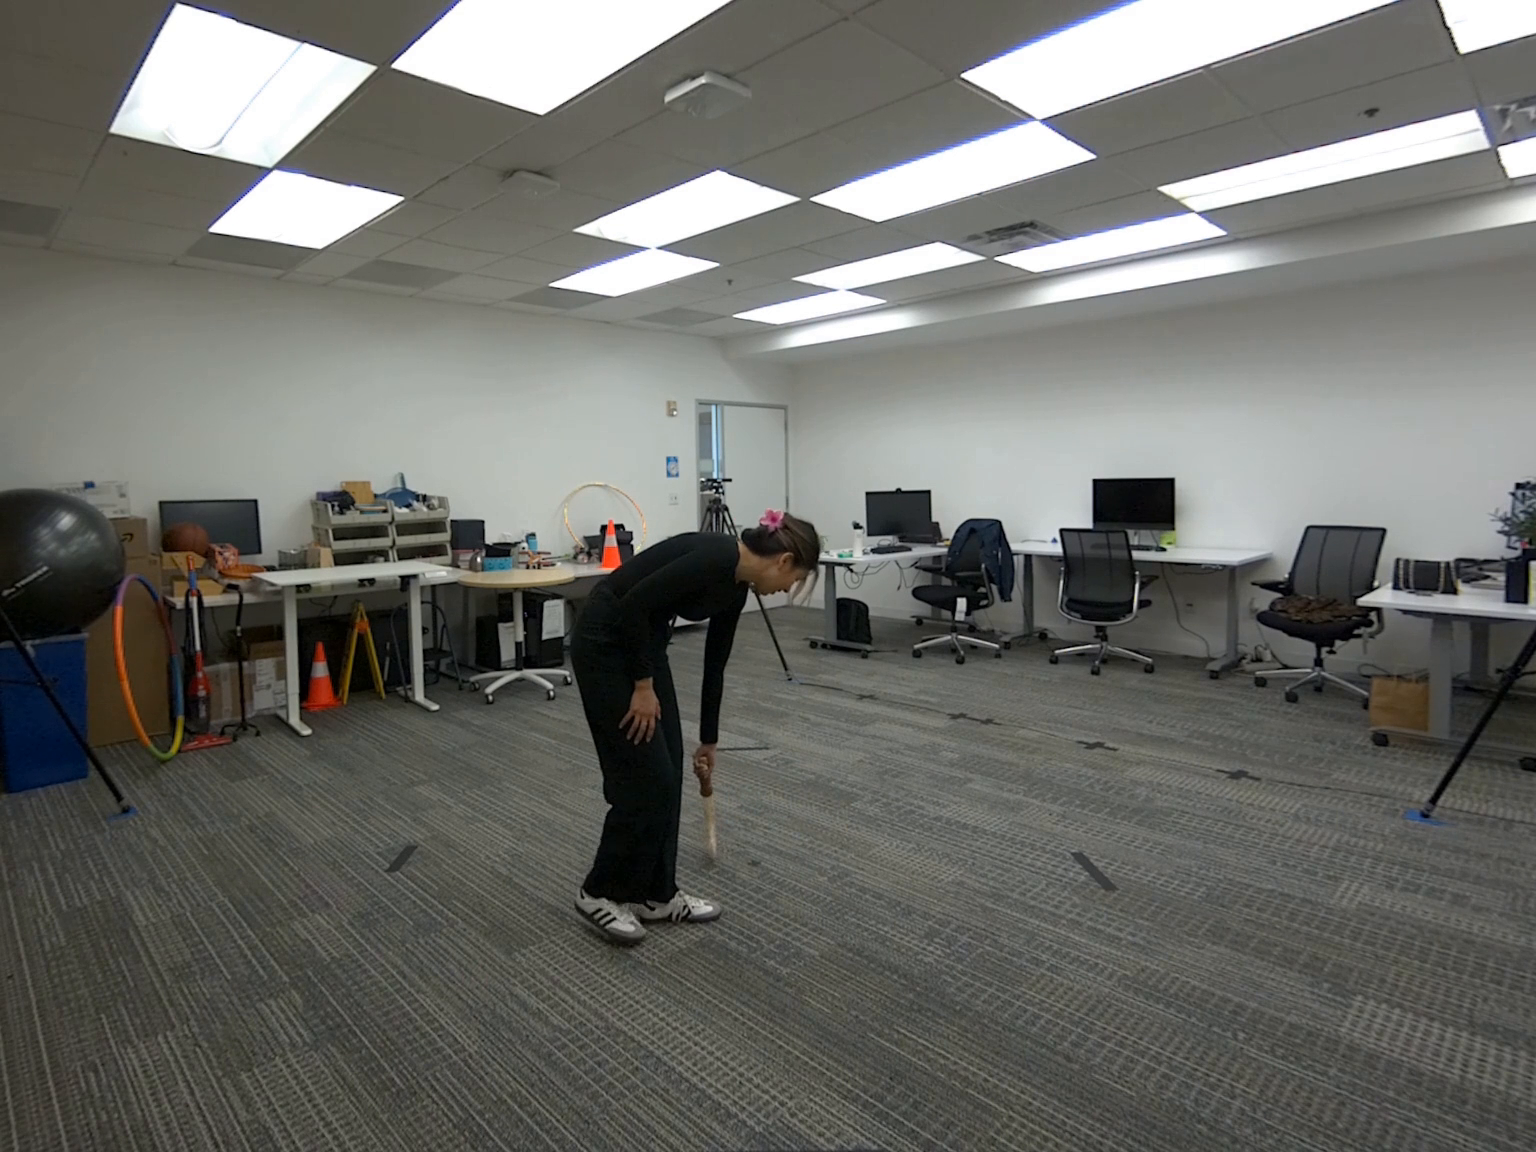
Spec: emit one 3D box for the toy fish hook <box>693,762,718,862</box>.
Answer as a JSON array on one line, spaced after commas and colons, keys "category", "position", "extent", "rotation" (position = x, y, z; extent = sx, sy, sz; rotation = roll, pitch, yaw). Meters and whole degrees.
[{"category": "toy fish hook", "position": [-0.207, 0.834, 3.030], "extent": [0.048, 0.492, 0.232], "rotation": [-9, 44, -6]}]
